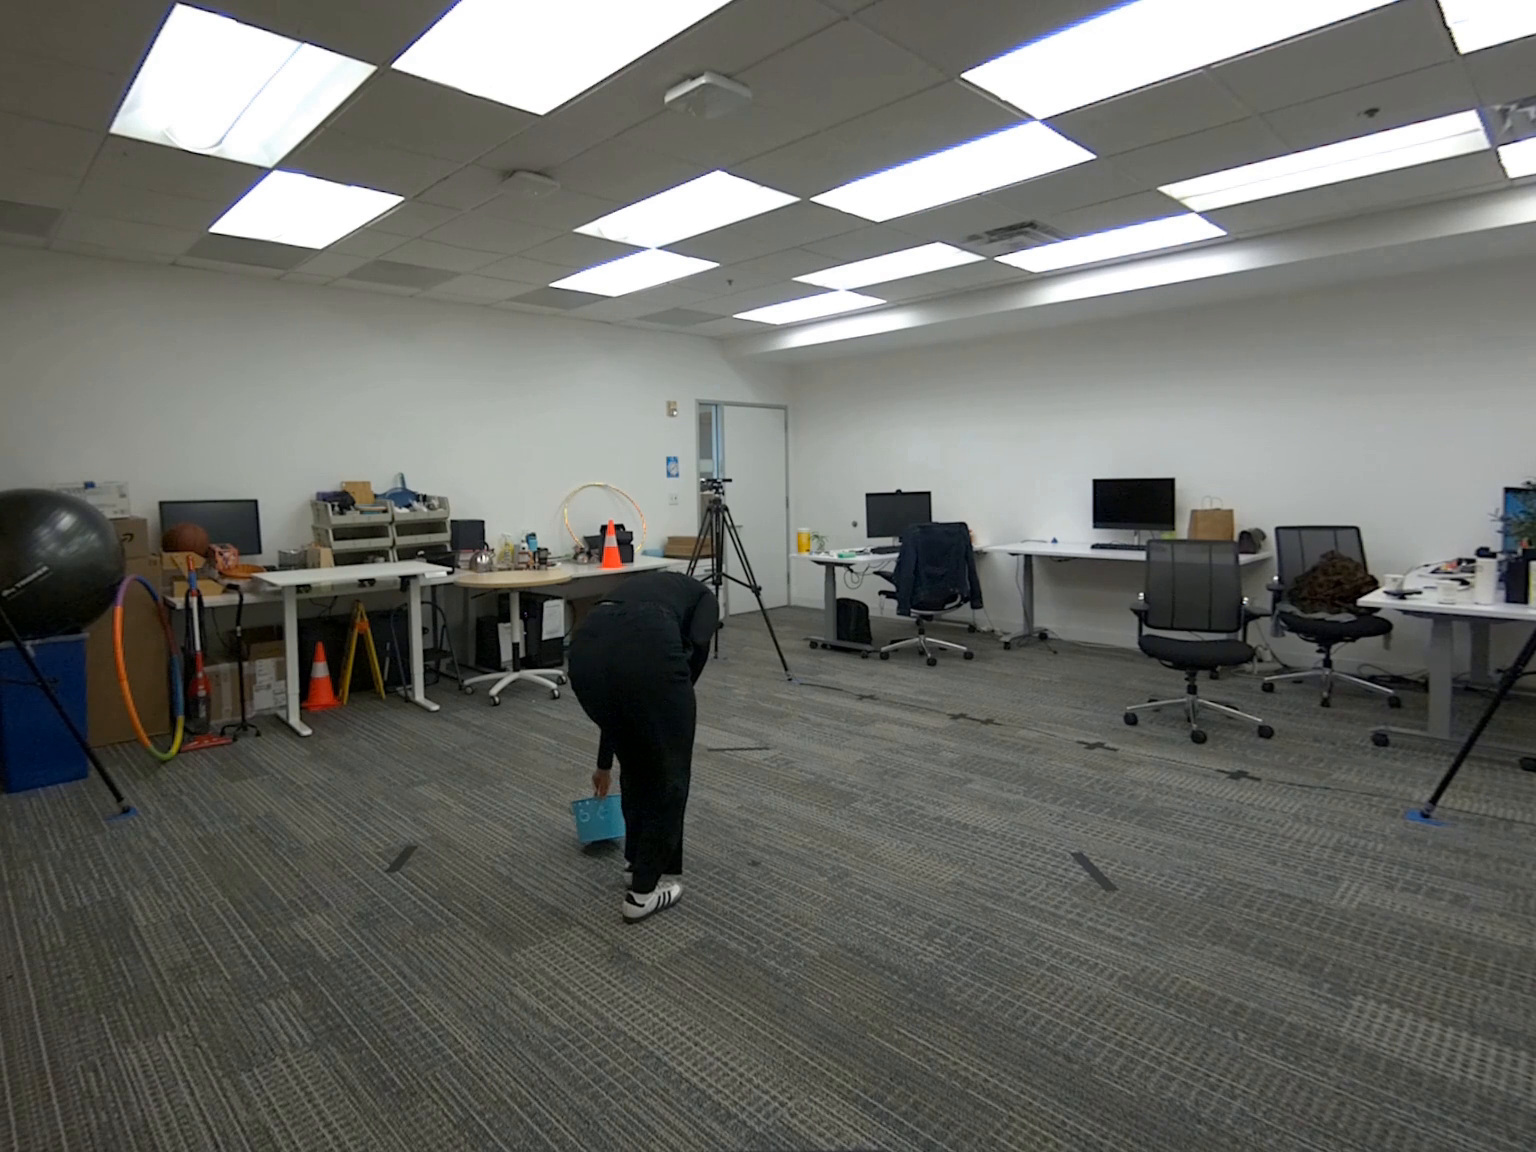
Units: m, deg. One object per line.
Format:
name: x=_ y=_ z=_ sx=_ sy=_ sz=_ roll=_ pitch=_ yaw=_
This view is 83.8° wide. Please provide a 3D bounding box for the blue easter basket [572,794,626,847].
blue easter basket: x=-0.632 y=0.928 z=3.282 sx=0.243 sy=0.158 sz=0.240 roll=-8 pitch=-16 yaw=-4
